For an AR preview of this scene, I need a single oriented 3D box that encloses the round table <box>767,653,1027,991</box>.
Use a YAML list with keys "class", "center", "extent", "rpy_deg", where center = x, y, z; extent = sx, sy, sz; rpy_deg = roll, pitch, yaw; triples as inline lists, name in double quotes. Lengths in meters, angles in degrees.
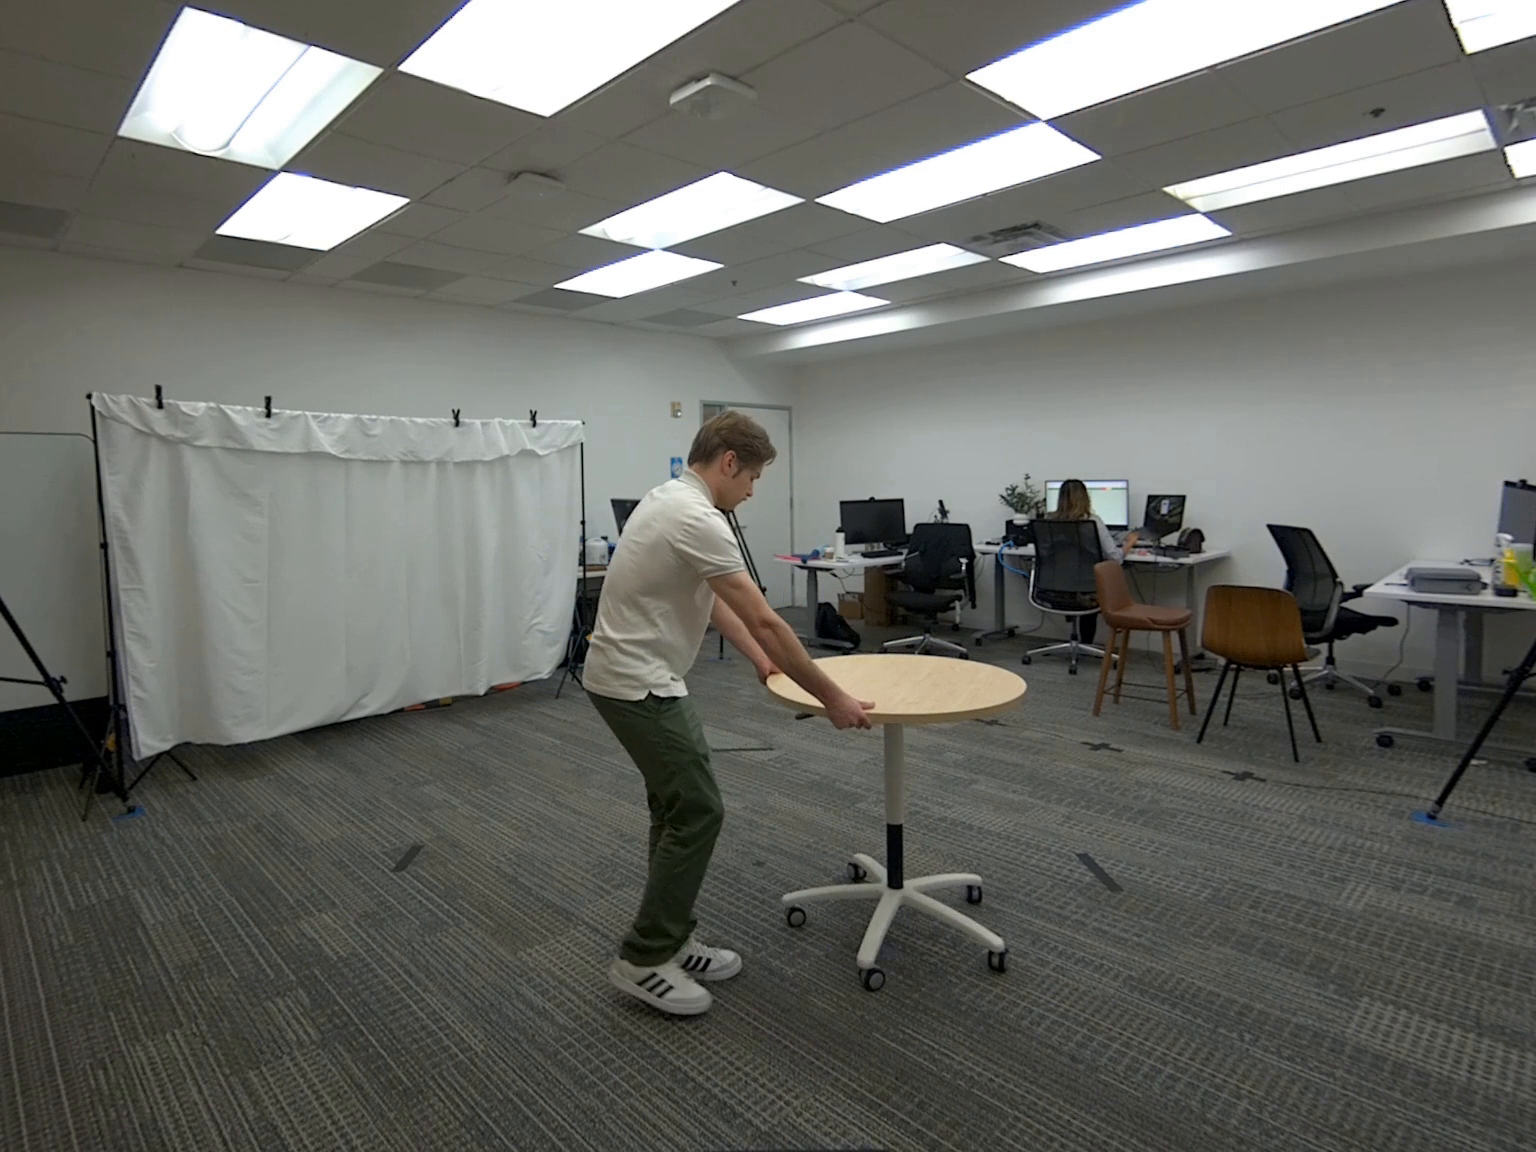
- class: "round table"
  center: [0.379, 0.704, 2.609]
  extent: [0.784, 0.783, 0.789]
  rpy_deg: [-2, 5, -2]
